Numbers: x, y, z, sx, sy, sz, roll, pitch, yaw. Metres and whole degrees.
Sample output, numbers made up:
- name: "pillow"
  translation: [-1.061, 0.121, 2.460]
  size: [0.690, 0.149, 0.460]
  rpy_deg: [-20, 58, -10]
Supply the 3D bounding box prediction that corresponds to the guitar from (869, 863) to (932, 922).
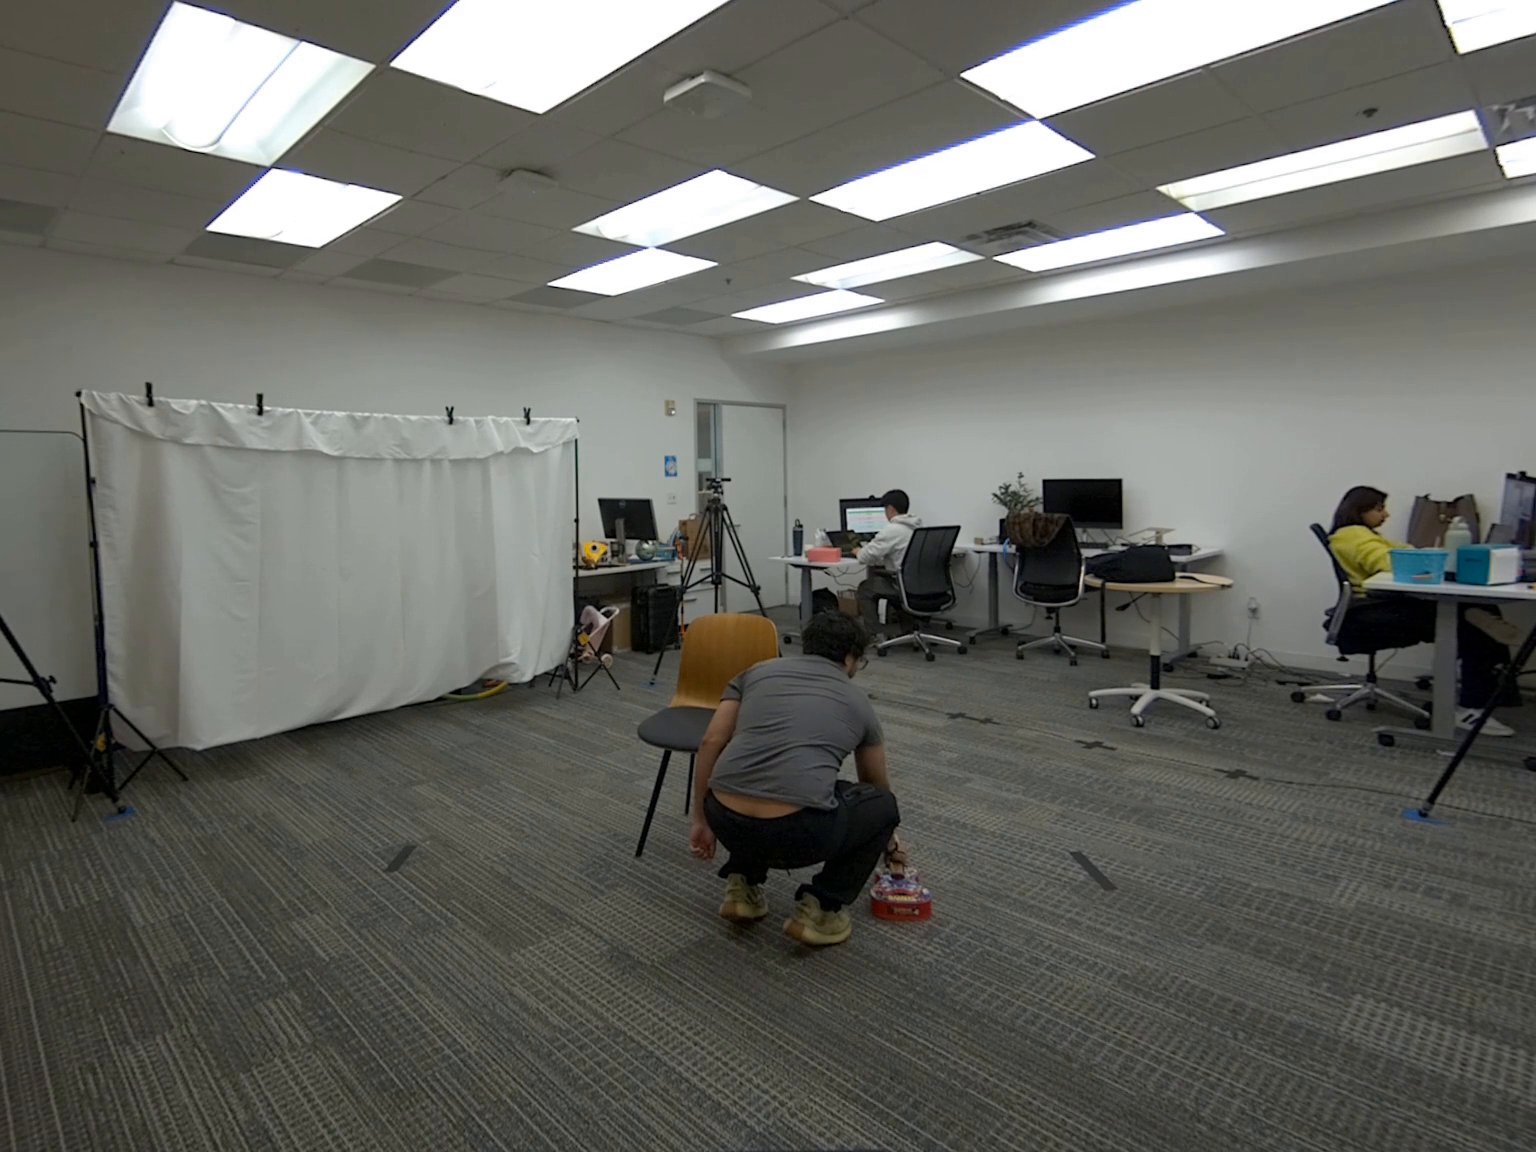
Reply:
- name: "guitar"
  translation: [0.462, 1.013, 2.918]
  size: [0.195, 0.070, 0.494]
  rpy_deg: [0, 8, 12]
